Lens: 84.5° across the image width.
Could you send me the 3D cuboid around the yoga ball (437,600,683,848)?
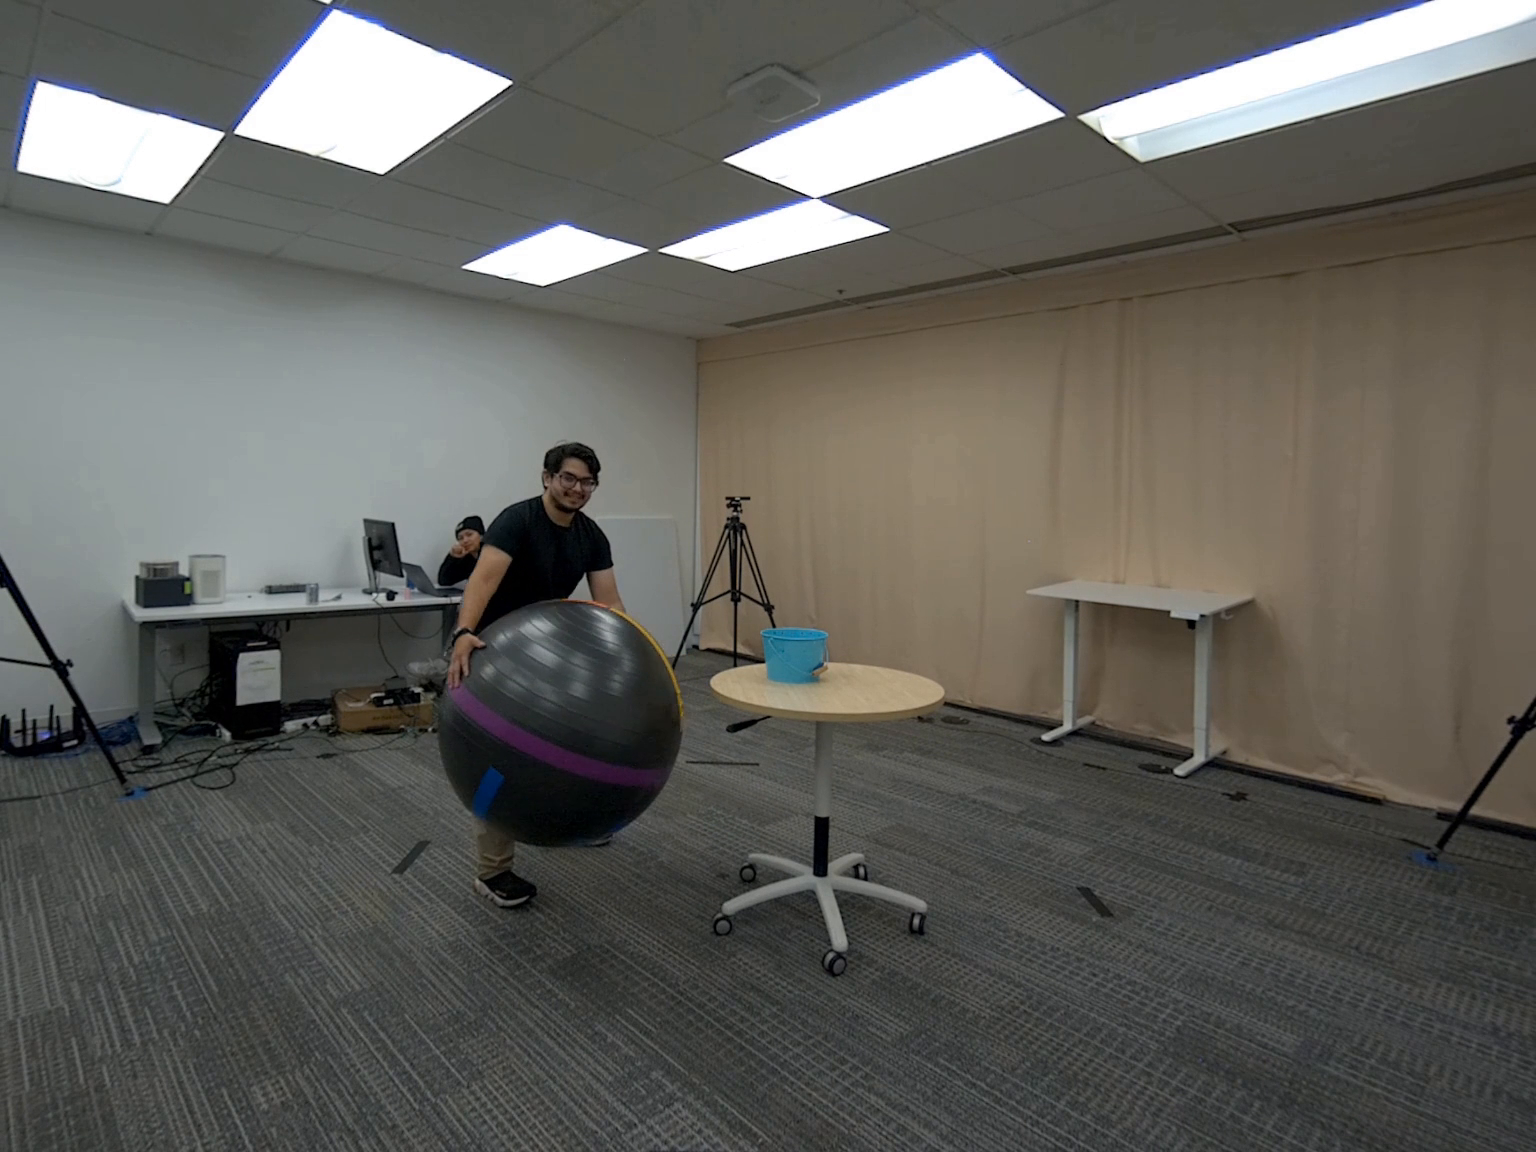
[{"bbox_3d":[-0.674,0.464,2.658,0.757,0.756,0.761,1,4,-1],"label":"yoga ball"}]
